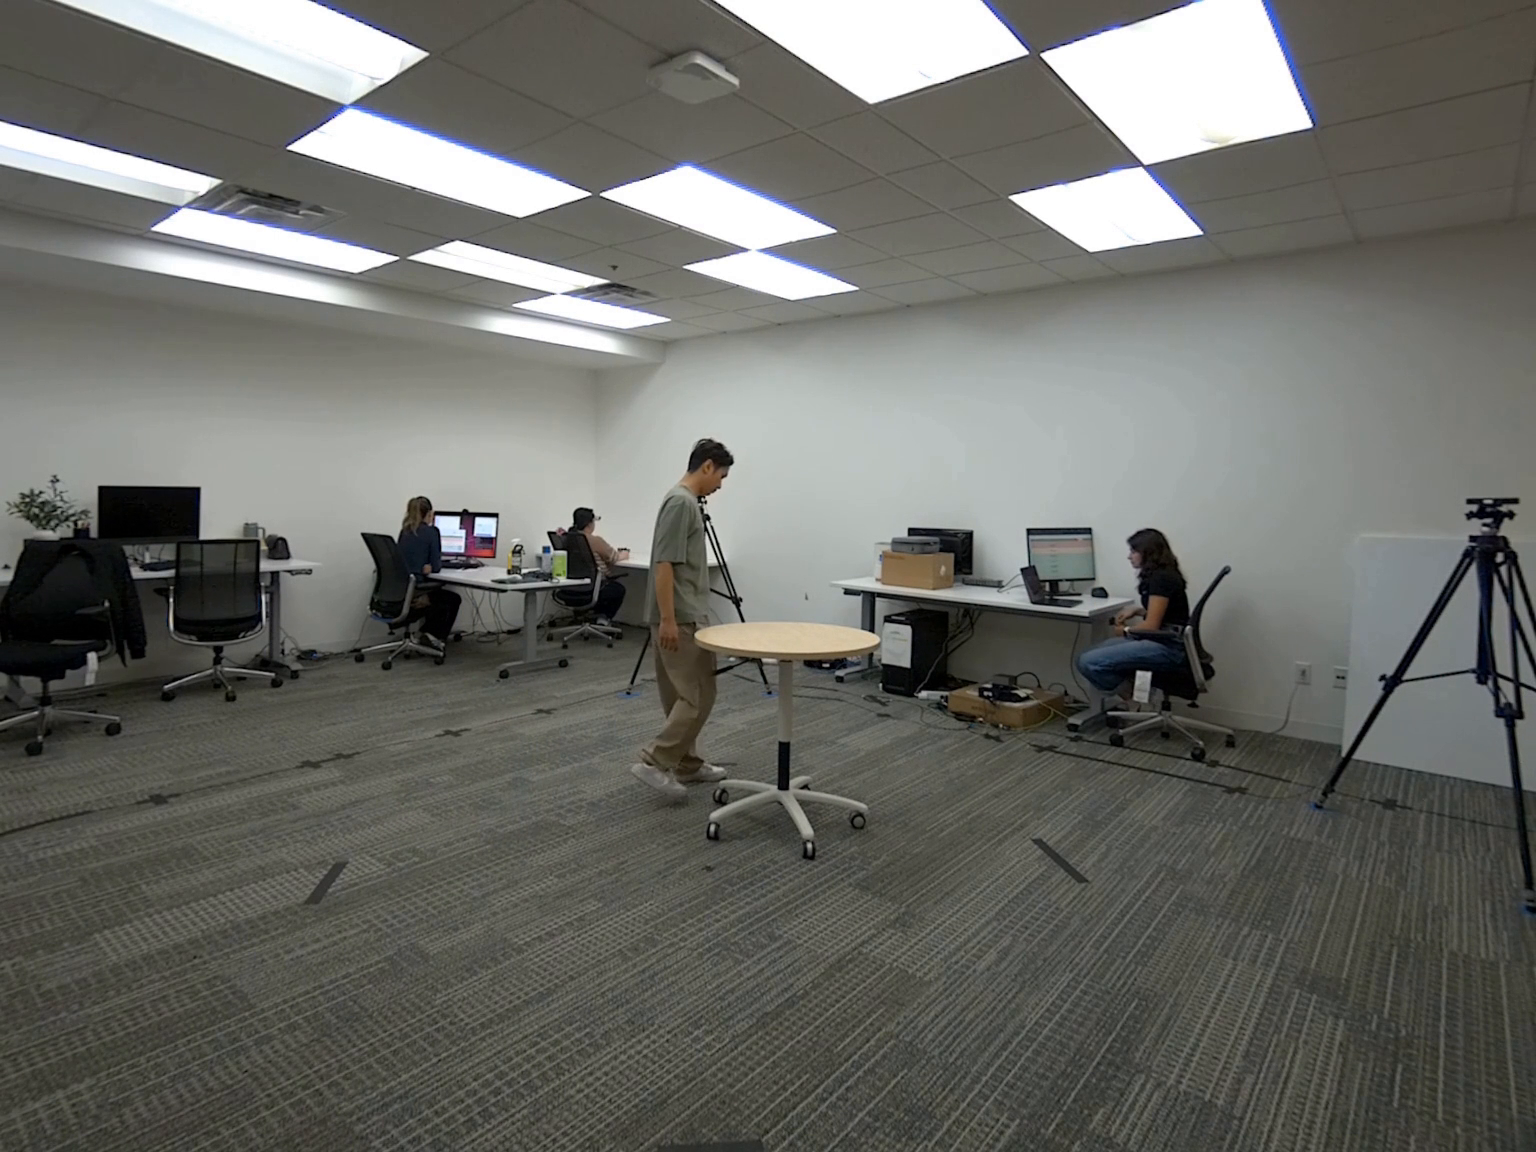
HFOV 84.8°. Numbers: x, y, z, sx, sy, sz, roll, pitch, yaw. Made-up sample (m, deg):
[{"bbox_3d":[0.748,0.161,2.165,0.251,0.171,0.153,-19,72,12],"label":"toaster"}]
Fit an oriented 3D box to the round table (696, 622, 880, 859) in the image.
[{"bbox_3d":[0.044,0.633,3.536,0.784,0.784,0.789,1,4,-2],"label":"round table"}]
